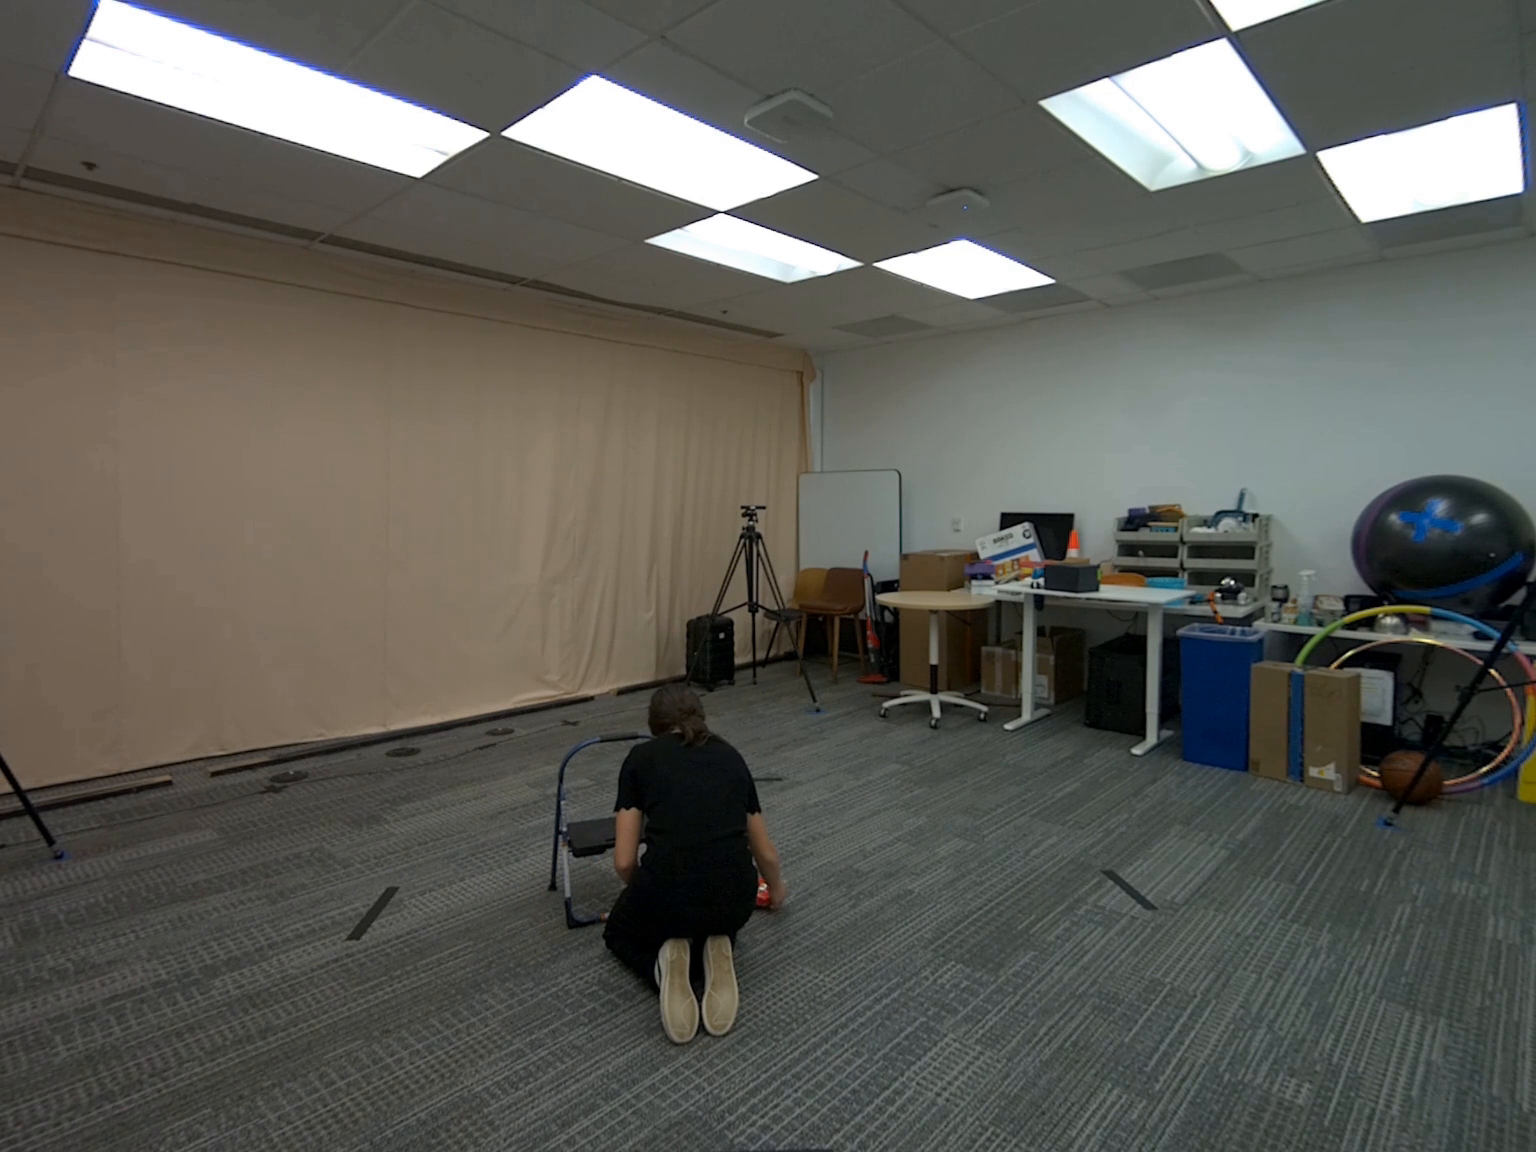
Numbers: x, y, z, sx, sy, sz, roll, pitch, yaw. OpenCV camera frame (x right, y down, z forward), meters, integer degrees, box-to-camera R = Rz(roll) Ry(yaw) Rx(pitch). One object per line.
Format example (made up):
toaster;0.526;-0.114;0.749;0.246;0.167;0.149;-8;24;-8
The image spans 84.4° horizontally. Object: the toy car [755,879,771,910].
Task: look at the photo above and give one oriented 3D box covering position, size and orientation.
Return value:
toy car;-0.072;1.115;2.965;0.261;0.083;0.126;-10;-3;36
